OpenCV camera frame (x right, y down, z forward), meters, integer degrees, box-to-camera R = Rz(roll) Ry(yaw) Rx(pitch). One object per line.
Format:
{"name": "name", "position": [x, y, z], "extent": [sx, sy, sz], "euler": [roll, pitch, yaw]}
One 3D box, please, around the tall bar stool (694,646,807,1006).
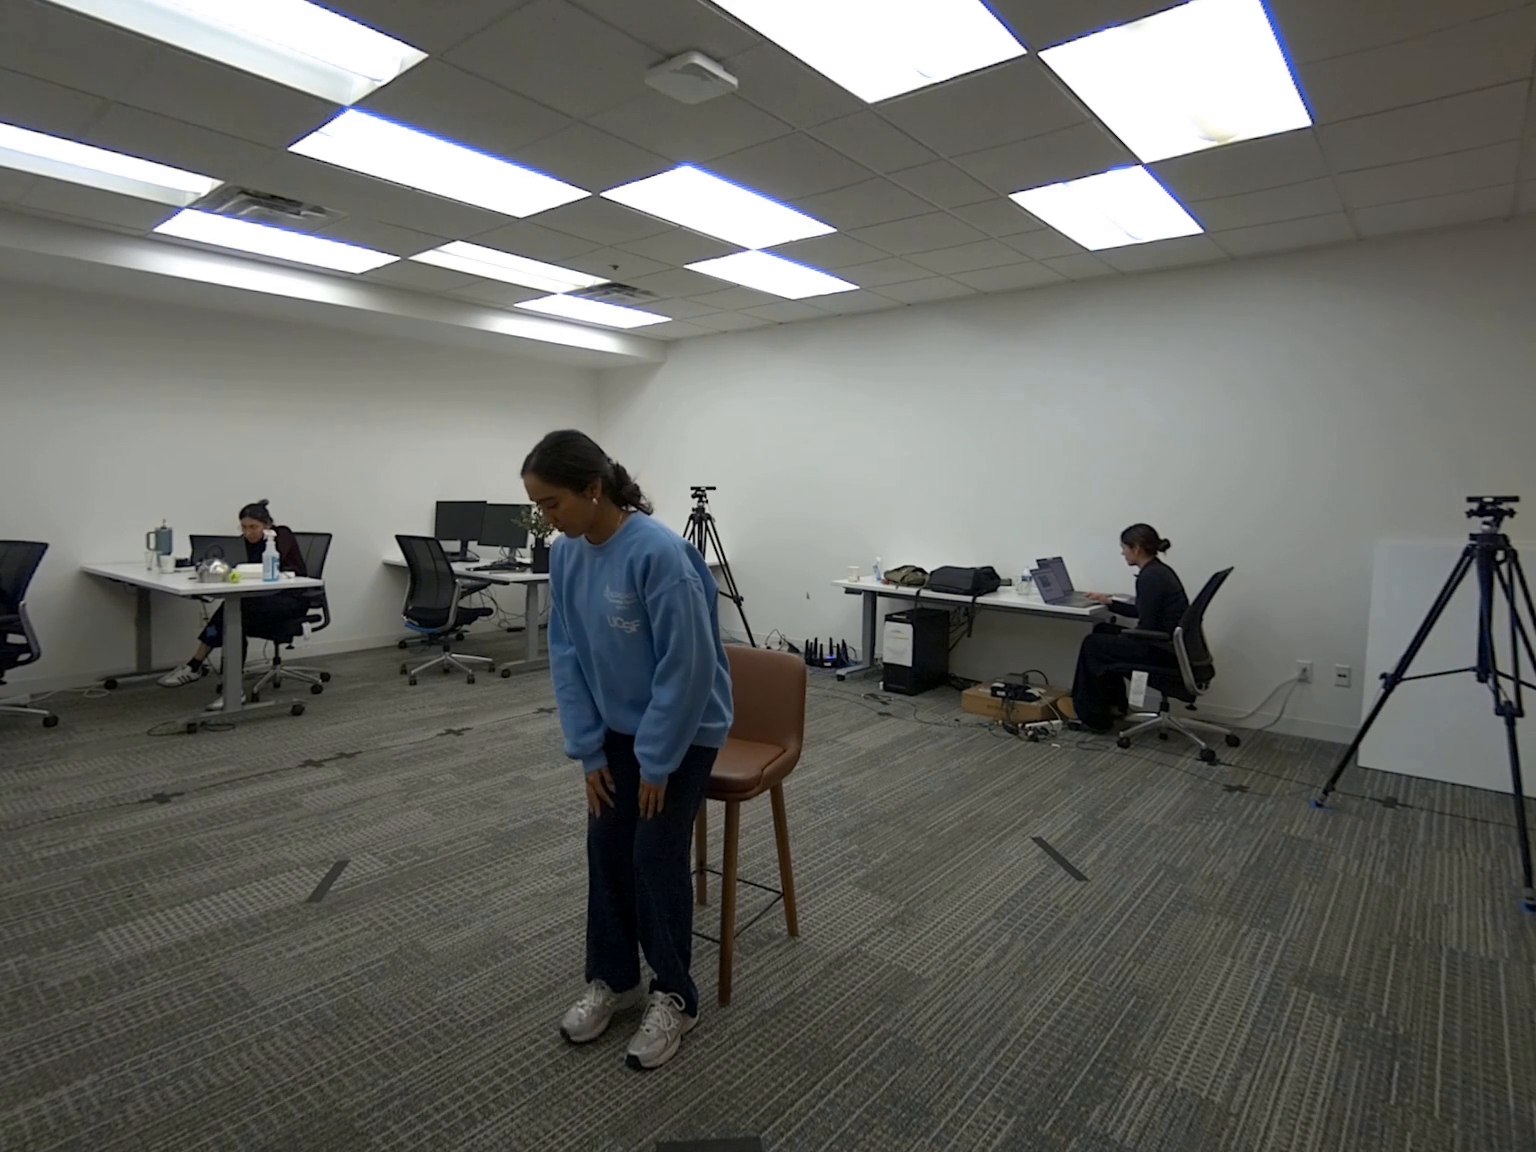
{"name": "tall bar stool", "position": [-0.170, 0.684, 2.550], "extent": [0.470, 0.888, 0.454], "euler": [3, 3, 32]}
